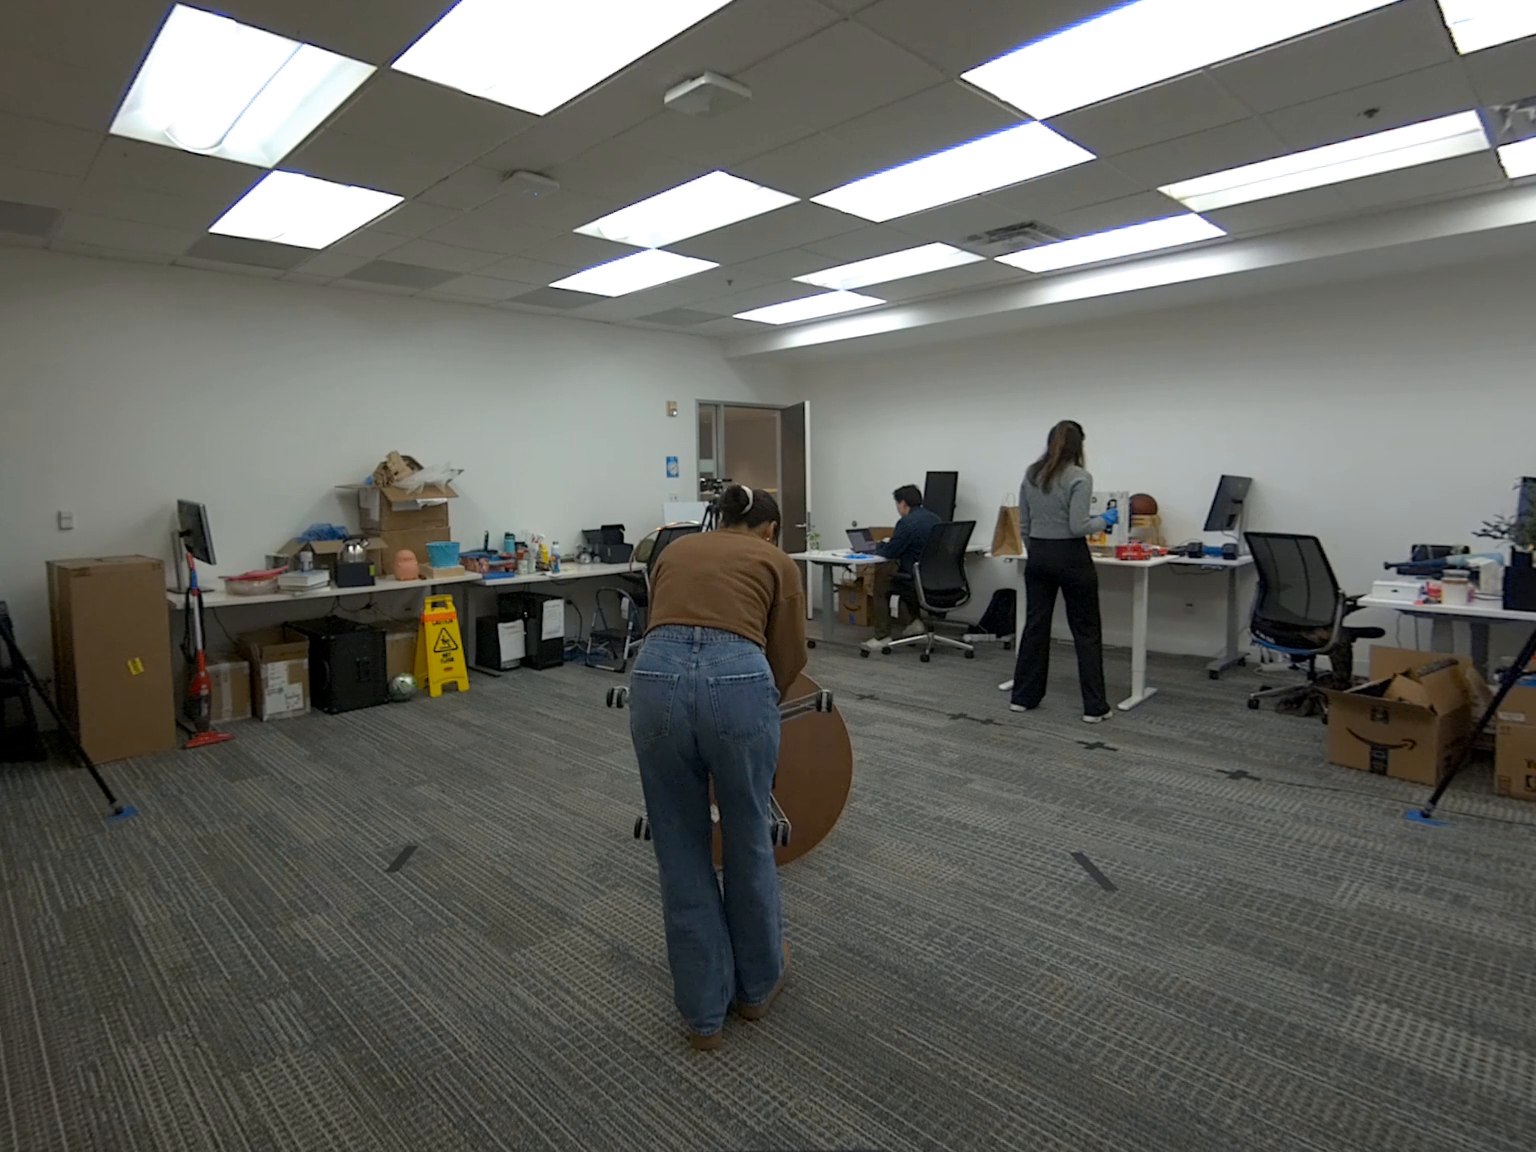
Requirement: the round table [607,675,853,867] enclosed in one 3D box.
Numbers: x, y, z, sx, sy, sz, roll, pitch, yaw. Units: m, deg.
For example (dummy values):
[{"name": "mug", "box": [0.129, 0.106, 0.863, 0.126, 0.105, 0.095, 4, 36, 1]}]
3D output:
[{"name": "round table", "box": [-0.110, 0.563, 2.832, 0.770, 0.777, 0.774, 0, -20, 8]}]
